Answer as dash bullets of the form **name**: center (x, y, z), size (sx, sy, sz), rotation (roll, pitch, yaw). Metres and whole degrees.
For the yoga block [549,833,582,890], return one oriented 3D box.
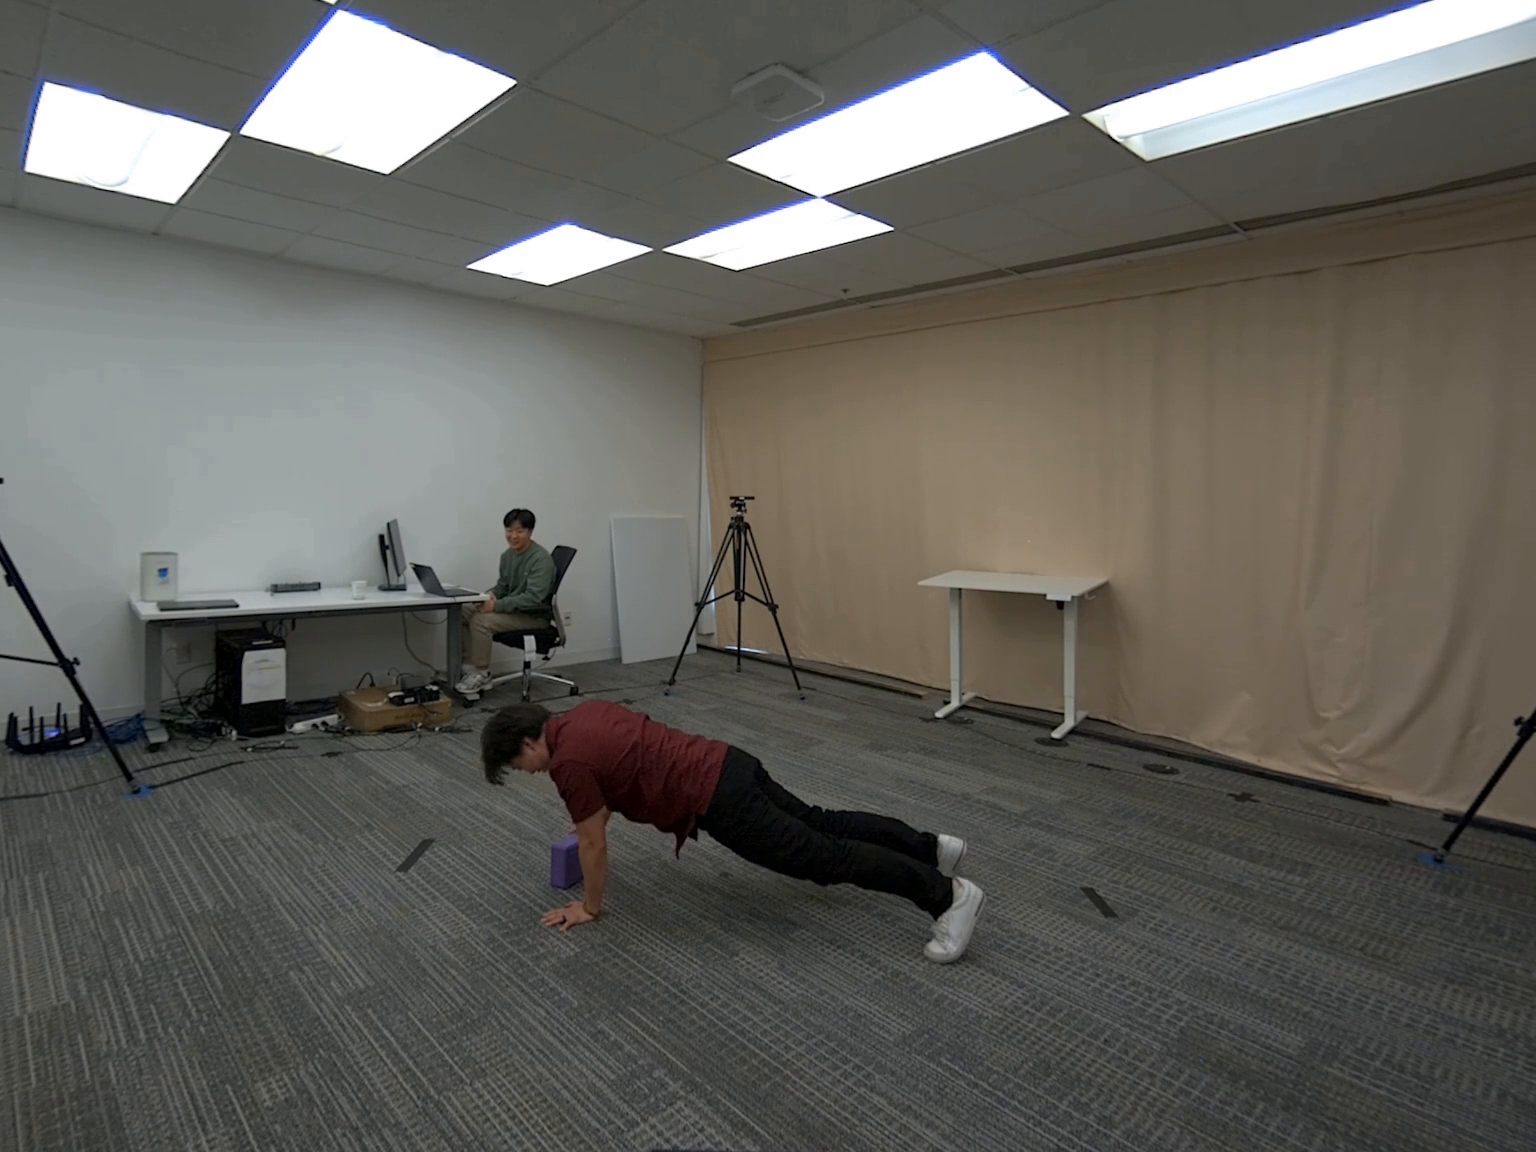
- **yoga block**: center (-0.691, 1.014, 3.063), size (0.078, 0.148, 0.226), rotation (2, 8, 22)
